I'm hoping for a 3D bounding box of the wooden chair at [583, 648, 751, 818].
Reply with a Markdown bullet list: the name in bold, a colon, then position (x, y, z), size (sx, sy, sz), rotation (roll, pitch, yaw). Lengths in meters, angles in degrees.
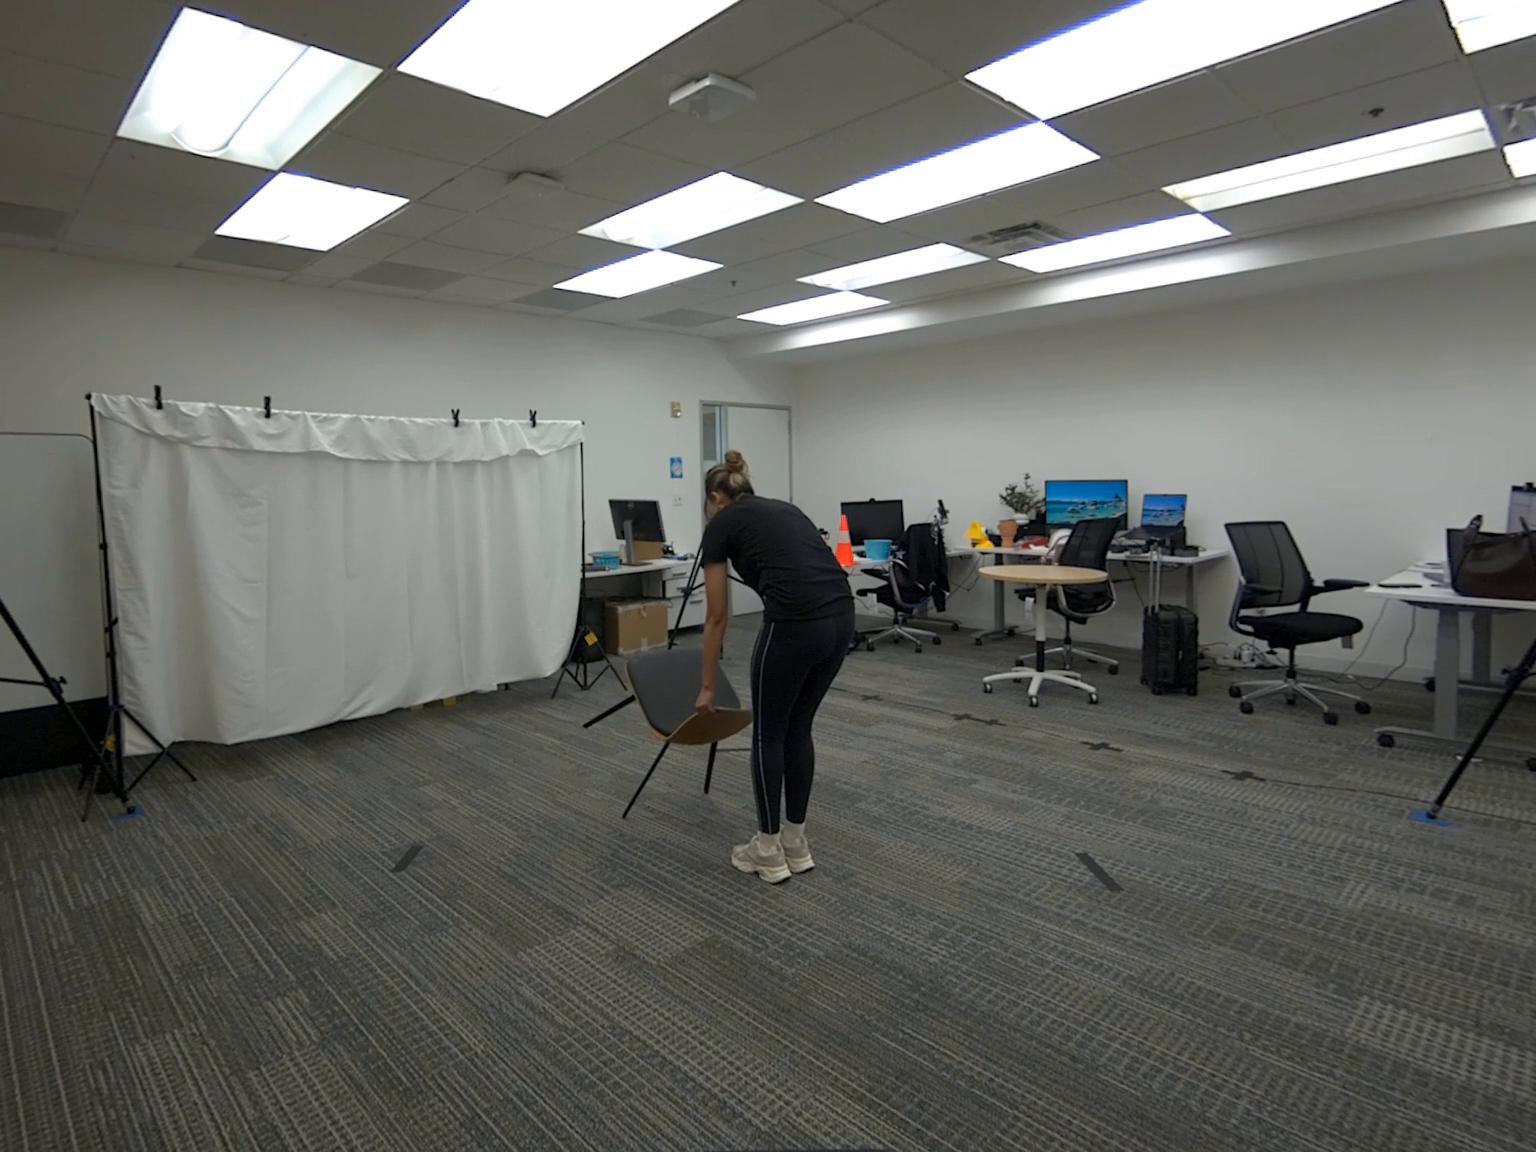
- **wooden chair**: position (-0.348, 0.538, 3.549), size (0.465, 0.539, 0.875), rotation (-4, -33, -40)
